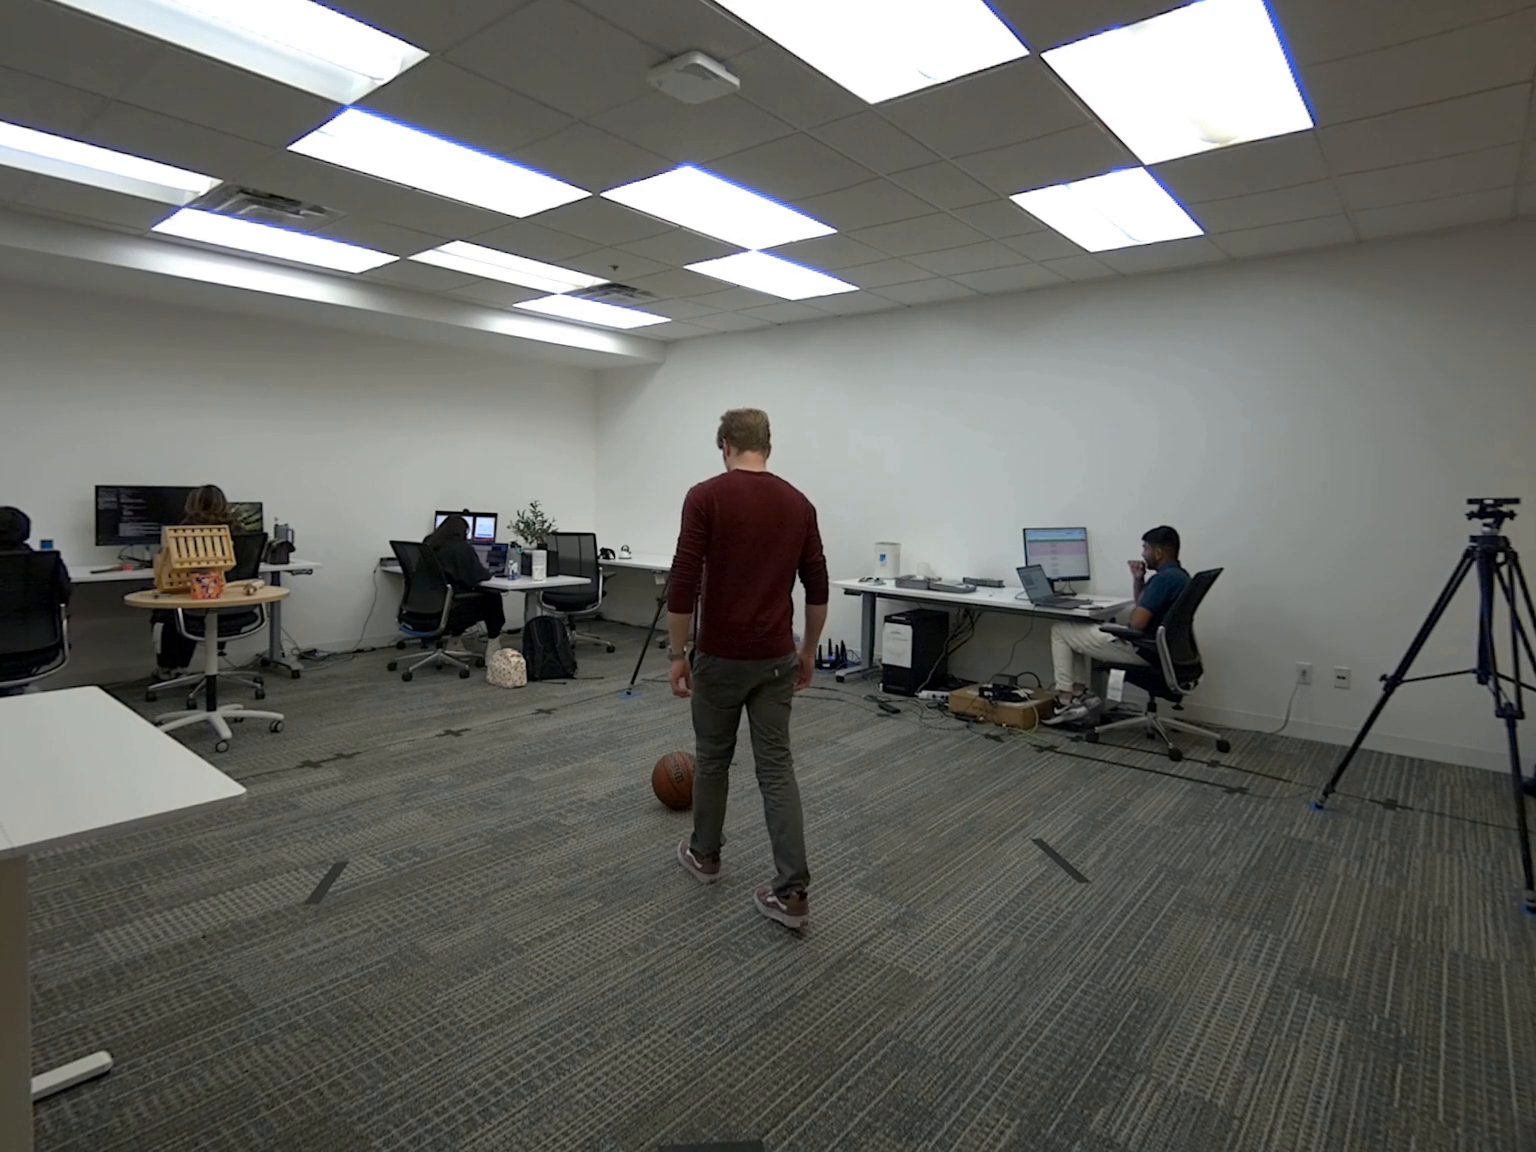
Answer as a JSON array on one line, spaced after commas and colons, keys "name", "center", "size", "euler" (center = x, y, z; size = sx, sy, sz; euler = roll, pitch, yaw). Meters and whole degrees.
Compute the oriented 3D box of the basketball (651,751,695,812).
[{"name": "basketball", "center": [-0.398, 0.884, 3.712], "size": [0.235, 0.235, 0.237], "euler": [1, 4, -2]}]
